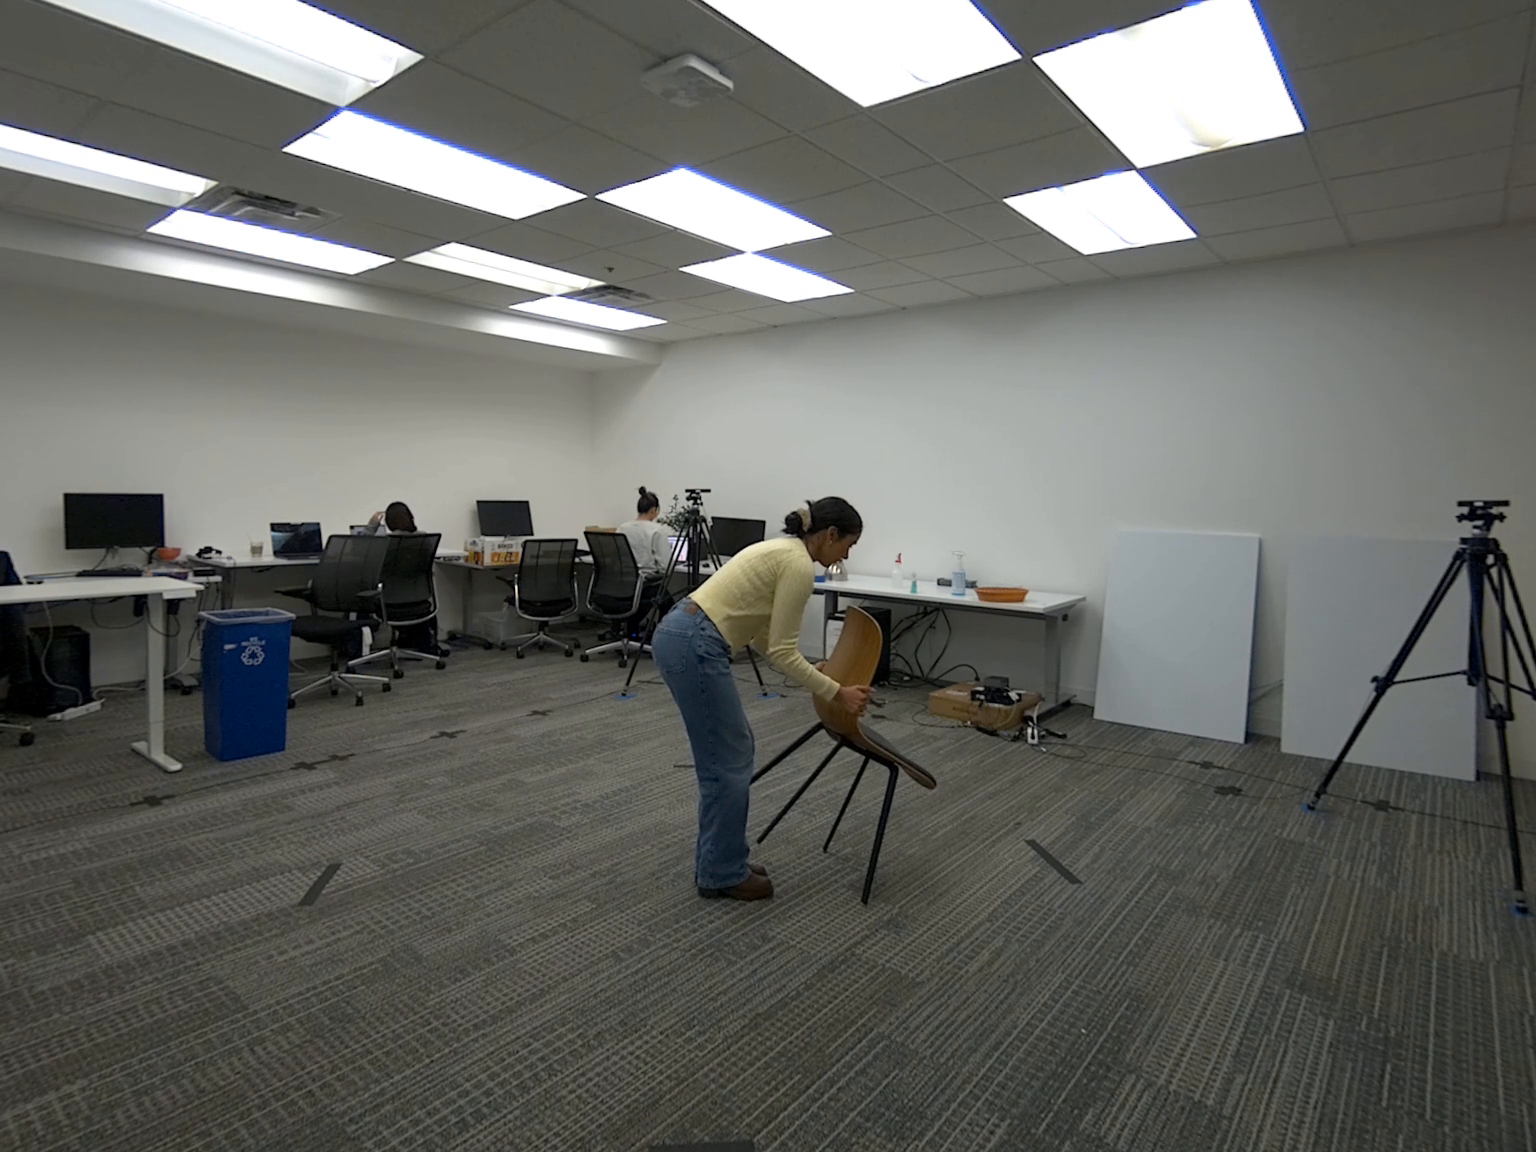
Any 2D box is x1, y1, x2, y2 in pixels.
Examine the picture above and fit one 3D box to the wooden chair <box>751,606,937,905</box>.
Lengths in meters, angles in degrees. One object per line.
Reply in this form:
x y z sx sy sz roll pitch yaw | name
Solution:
0.323 0.612 3.068 0.516 0.878 0.485 28 -2 -11 | wooden chair
